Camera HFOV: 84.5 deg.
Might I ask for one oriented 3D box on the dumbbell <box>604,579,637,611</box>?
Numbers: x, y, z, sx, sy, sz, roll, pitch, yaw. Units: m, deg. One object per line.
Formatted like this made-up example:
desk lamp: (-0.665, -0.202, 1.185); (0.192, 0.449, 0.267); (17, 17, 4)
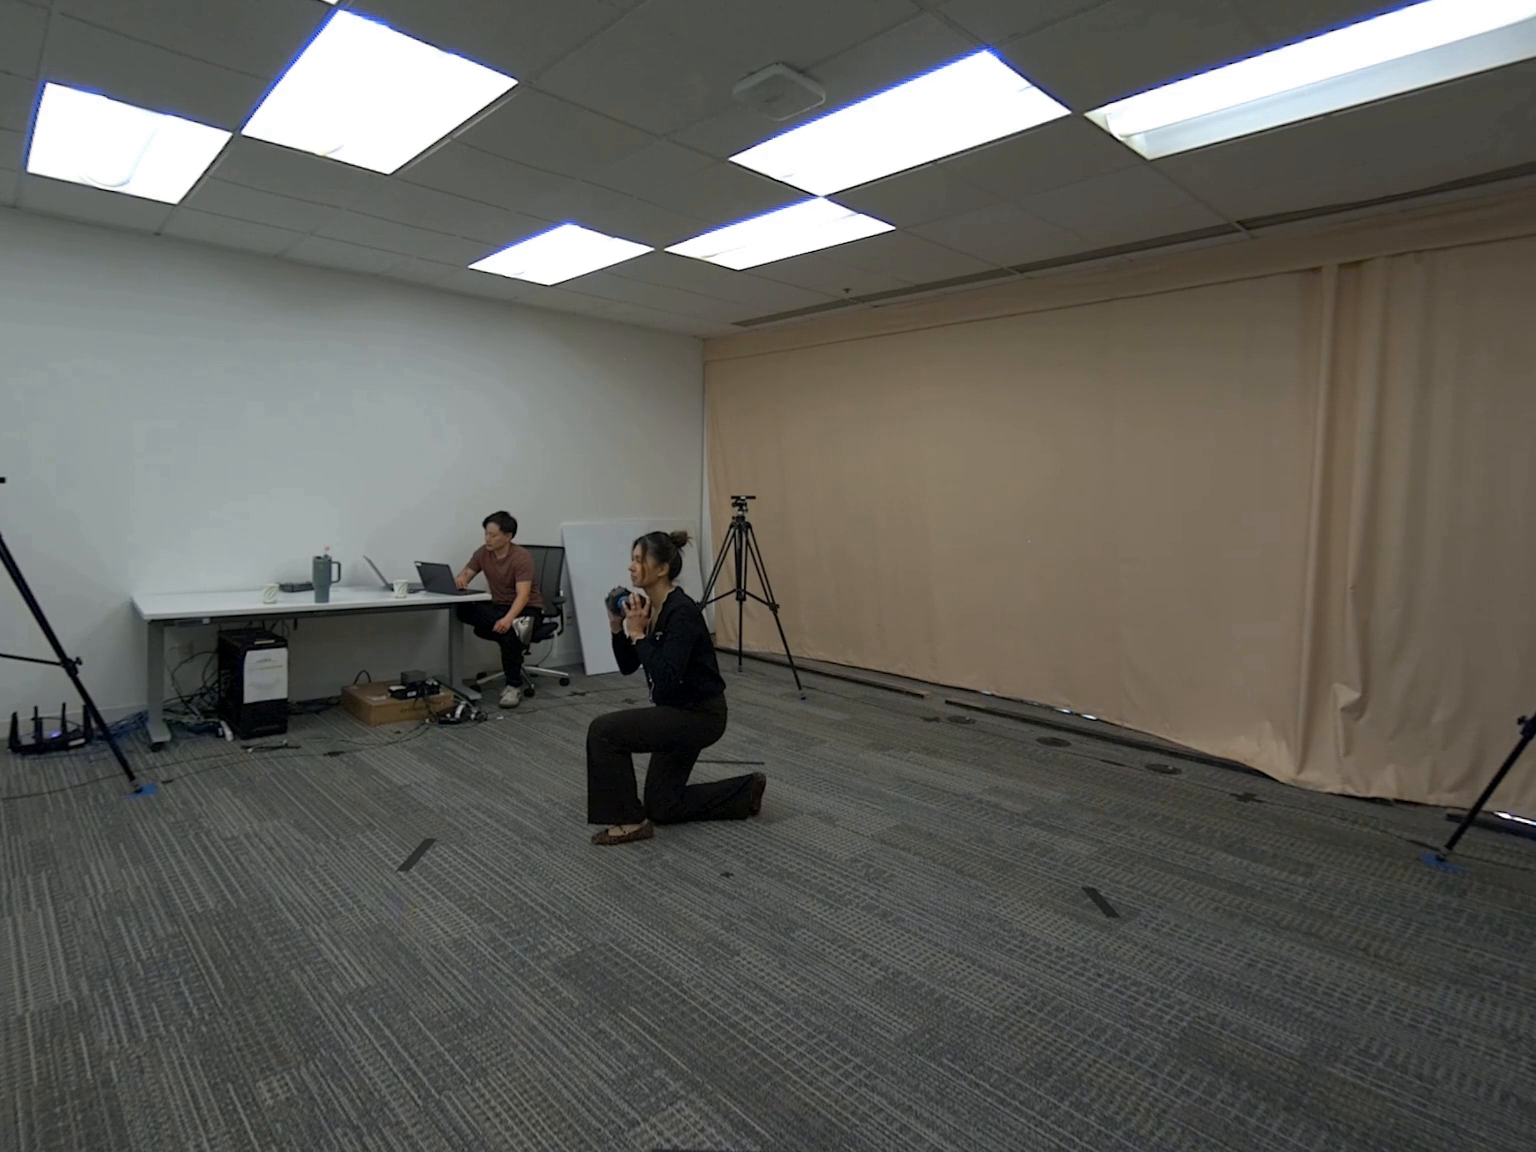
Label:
dumbbell: (-0.550, 0.109, 3.390); (0.120, 0.109, 0.299); (38, -9, -20)
